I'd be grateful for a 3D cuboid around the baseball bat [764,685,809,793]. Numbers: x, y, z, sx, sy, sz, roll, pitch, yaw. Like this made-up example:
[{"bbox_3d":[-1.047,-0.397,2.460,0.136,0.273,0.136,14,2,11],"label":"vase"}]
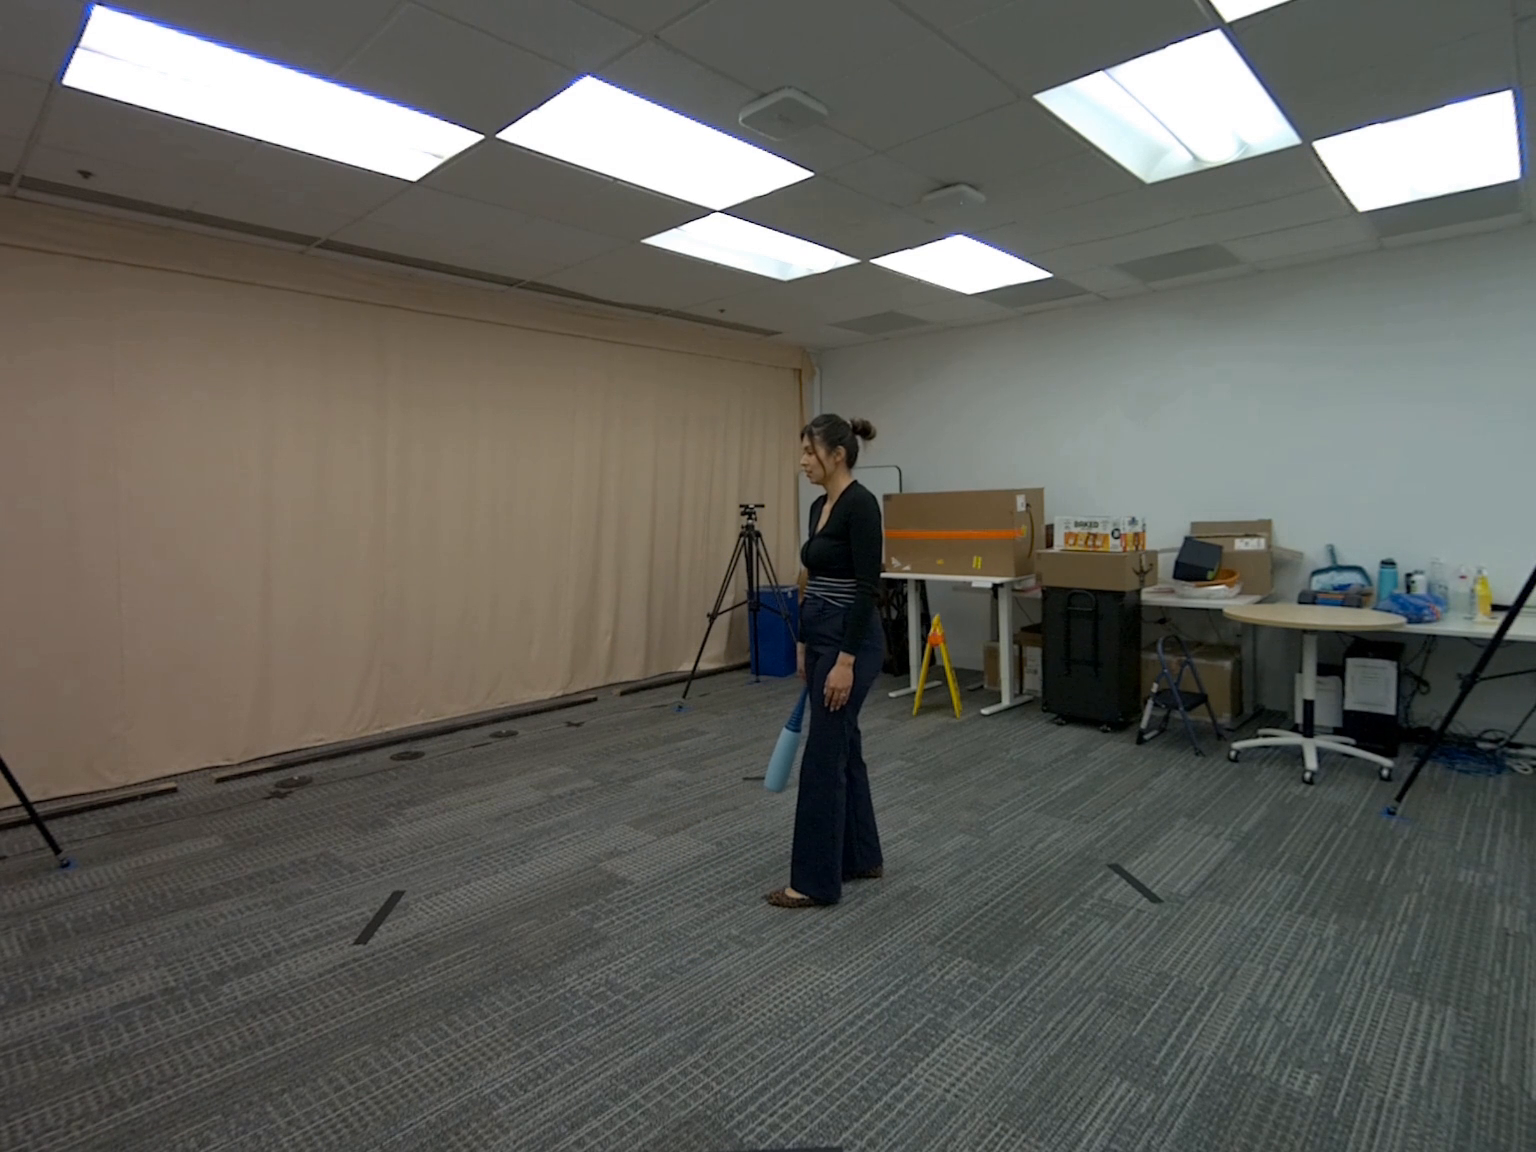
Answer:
[{"bbox_3d":[0.107,0.582,3.273,0.089,0.542,0.089,16,4,-3],"label":"baseball bat"}]
